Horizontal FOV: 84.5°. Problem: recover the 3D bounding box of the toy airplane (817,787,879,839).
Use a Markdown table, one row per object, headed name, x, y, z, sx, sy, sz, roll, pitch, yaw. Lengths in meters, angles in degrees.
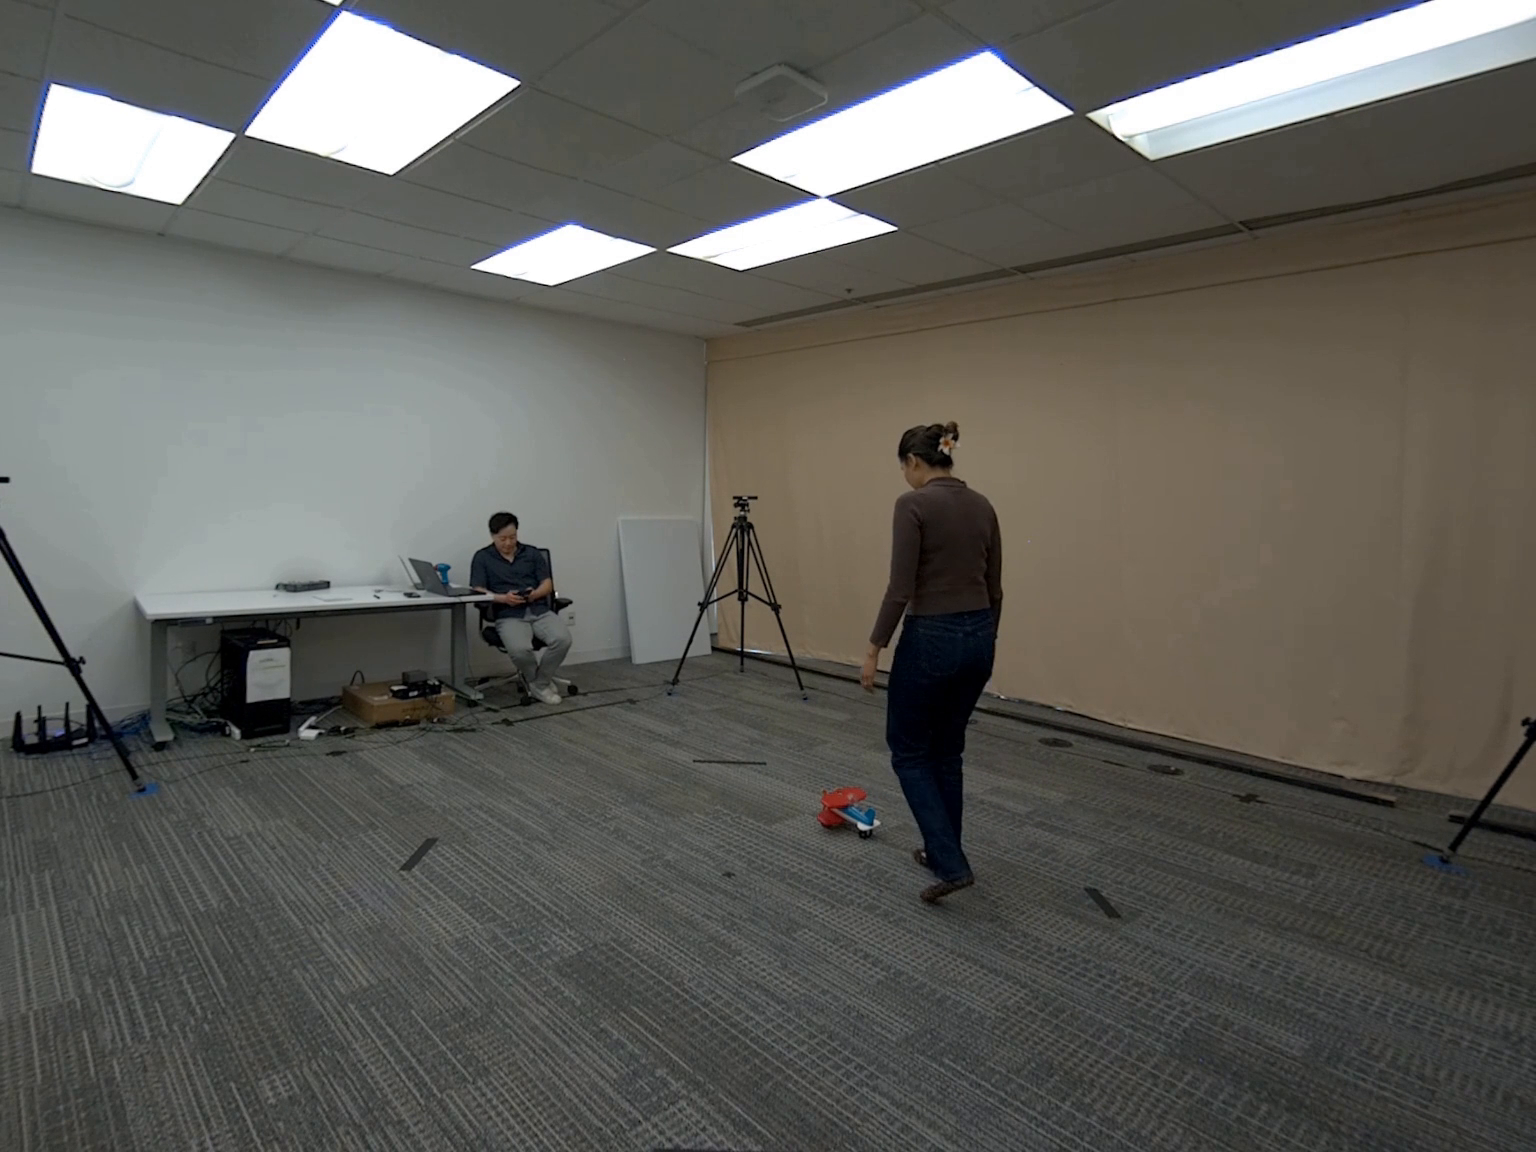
| name | x | y | z | sx | sy | sz | roll | pitch | yaw |
| --- | --- | --- | --- | --- | --- | --- | --- | --- | --- |
| toy airplane | 0.340 | 0.997 | 3.565 | 0.263 | 0.156 | 0.248 | 2 | 3 | 18 |
